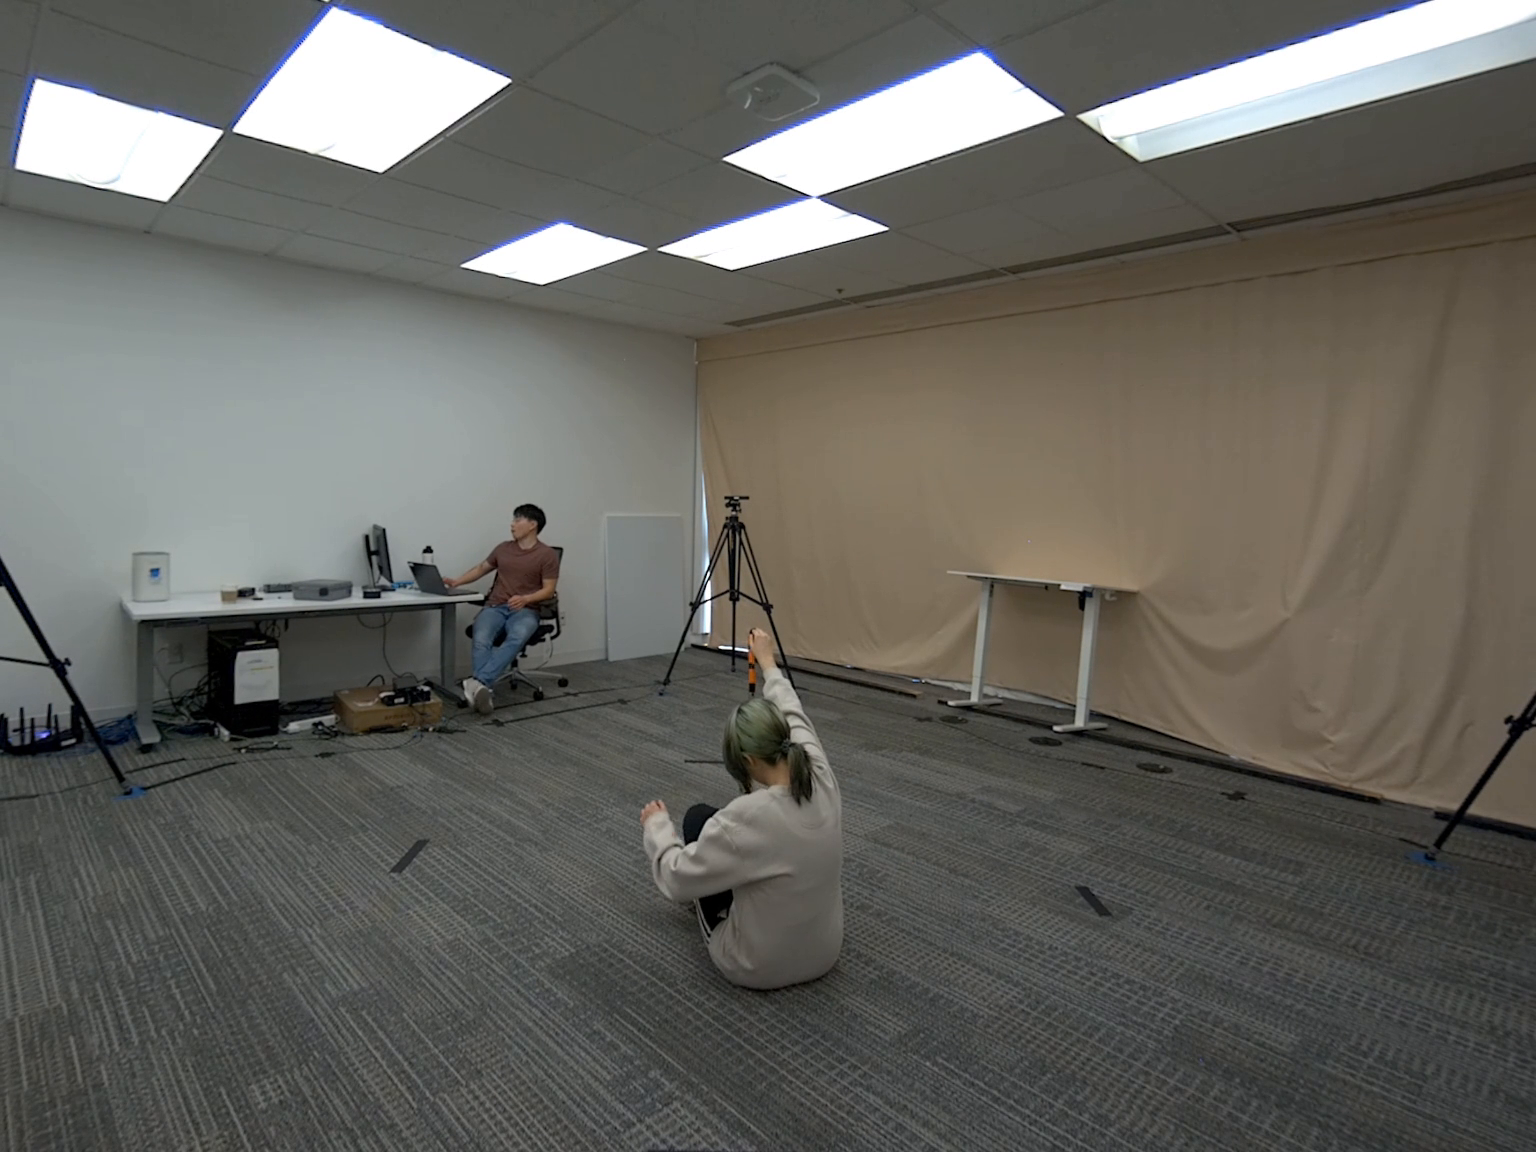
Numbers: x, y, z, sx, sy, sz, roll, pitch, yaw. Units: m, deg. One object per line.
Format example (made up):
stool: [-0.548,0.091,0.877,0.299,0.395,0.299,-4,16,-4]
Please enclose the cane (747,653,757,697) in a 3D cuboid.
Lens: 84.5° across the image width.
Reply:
cane: [-0.054,0.651,3.118,0.150,0.903,0.209,1,7,-11]
